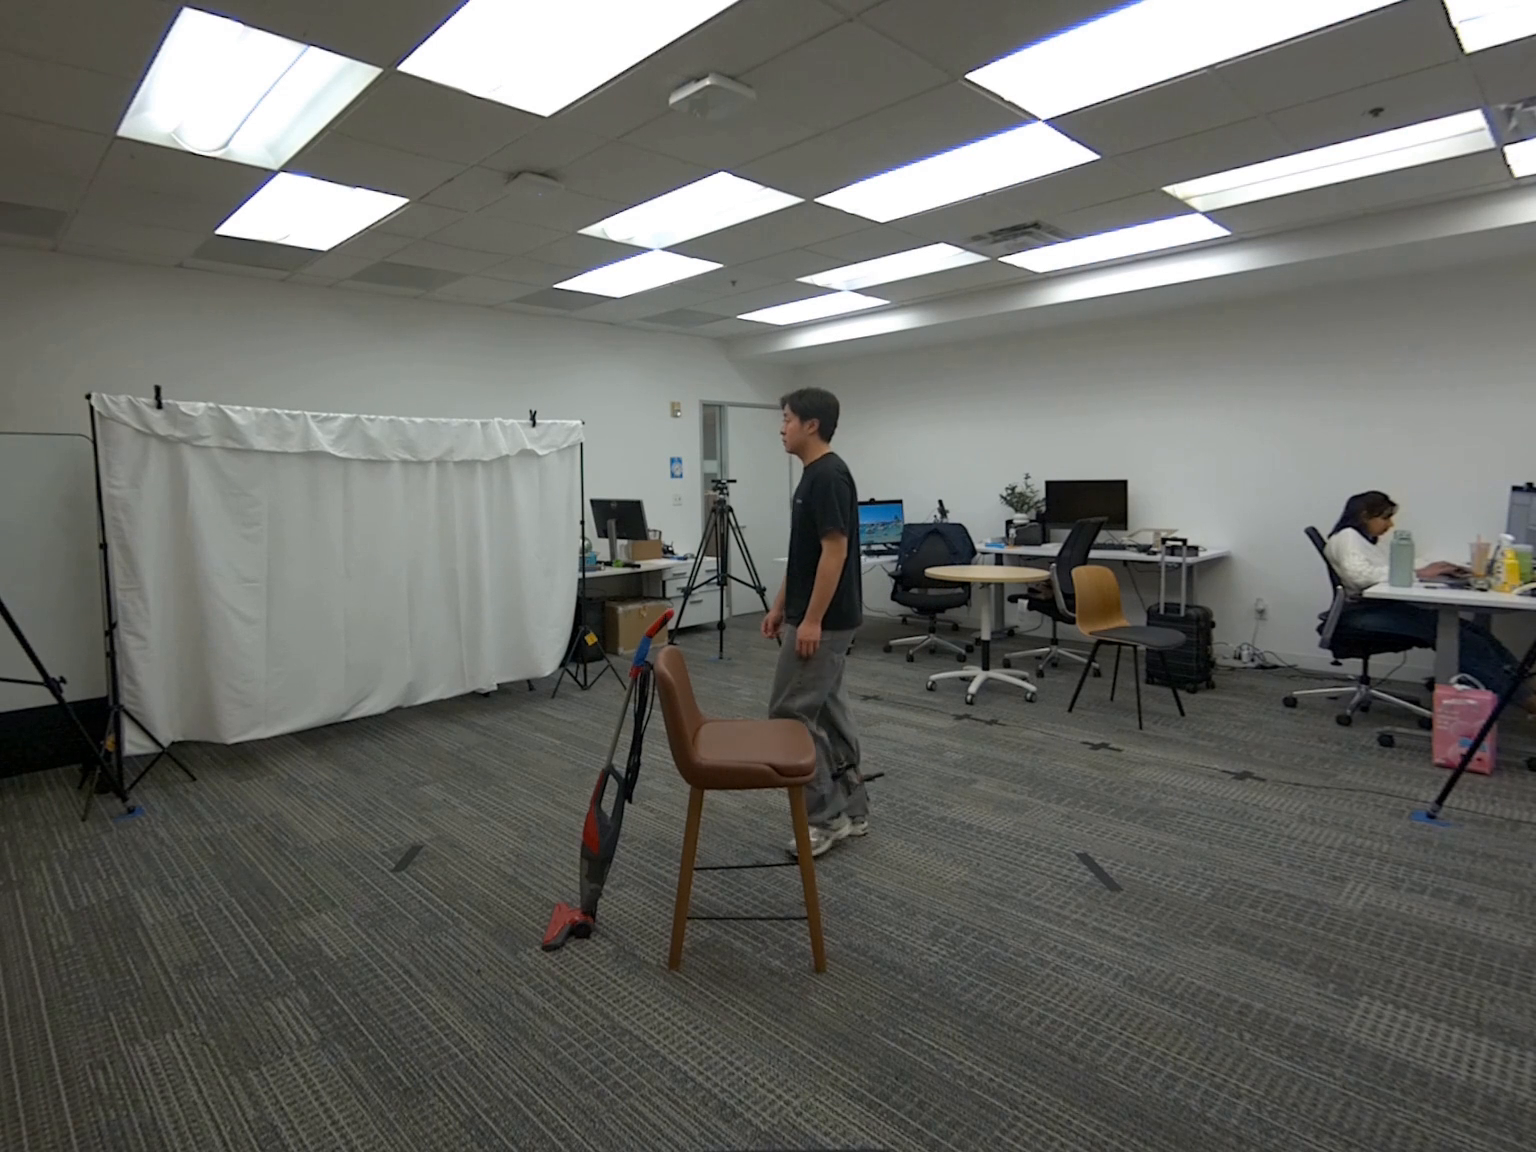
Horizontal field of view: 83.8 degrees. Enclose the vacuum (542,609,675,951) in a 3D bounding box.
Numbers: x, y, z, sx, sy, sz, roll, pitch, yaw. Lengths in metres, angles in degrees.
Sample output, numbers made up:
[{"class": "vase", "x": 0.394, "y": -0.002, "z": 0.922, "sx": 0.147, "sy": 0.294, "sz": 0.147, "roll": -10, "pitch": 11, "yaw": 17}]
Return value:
[{"class": "vacuum", "x": -0.466, "y": 0.604, "z": 2.662, "sx": 0.142, "sy": 1.048, "sz": 0.257, "roll": 16, "pitch": 2, "yaw": -15}]
